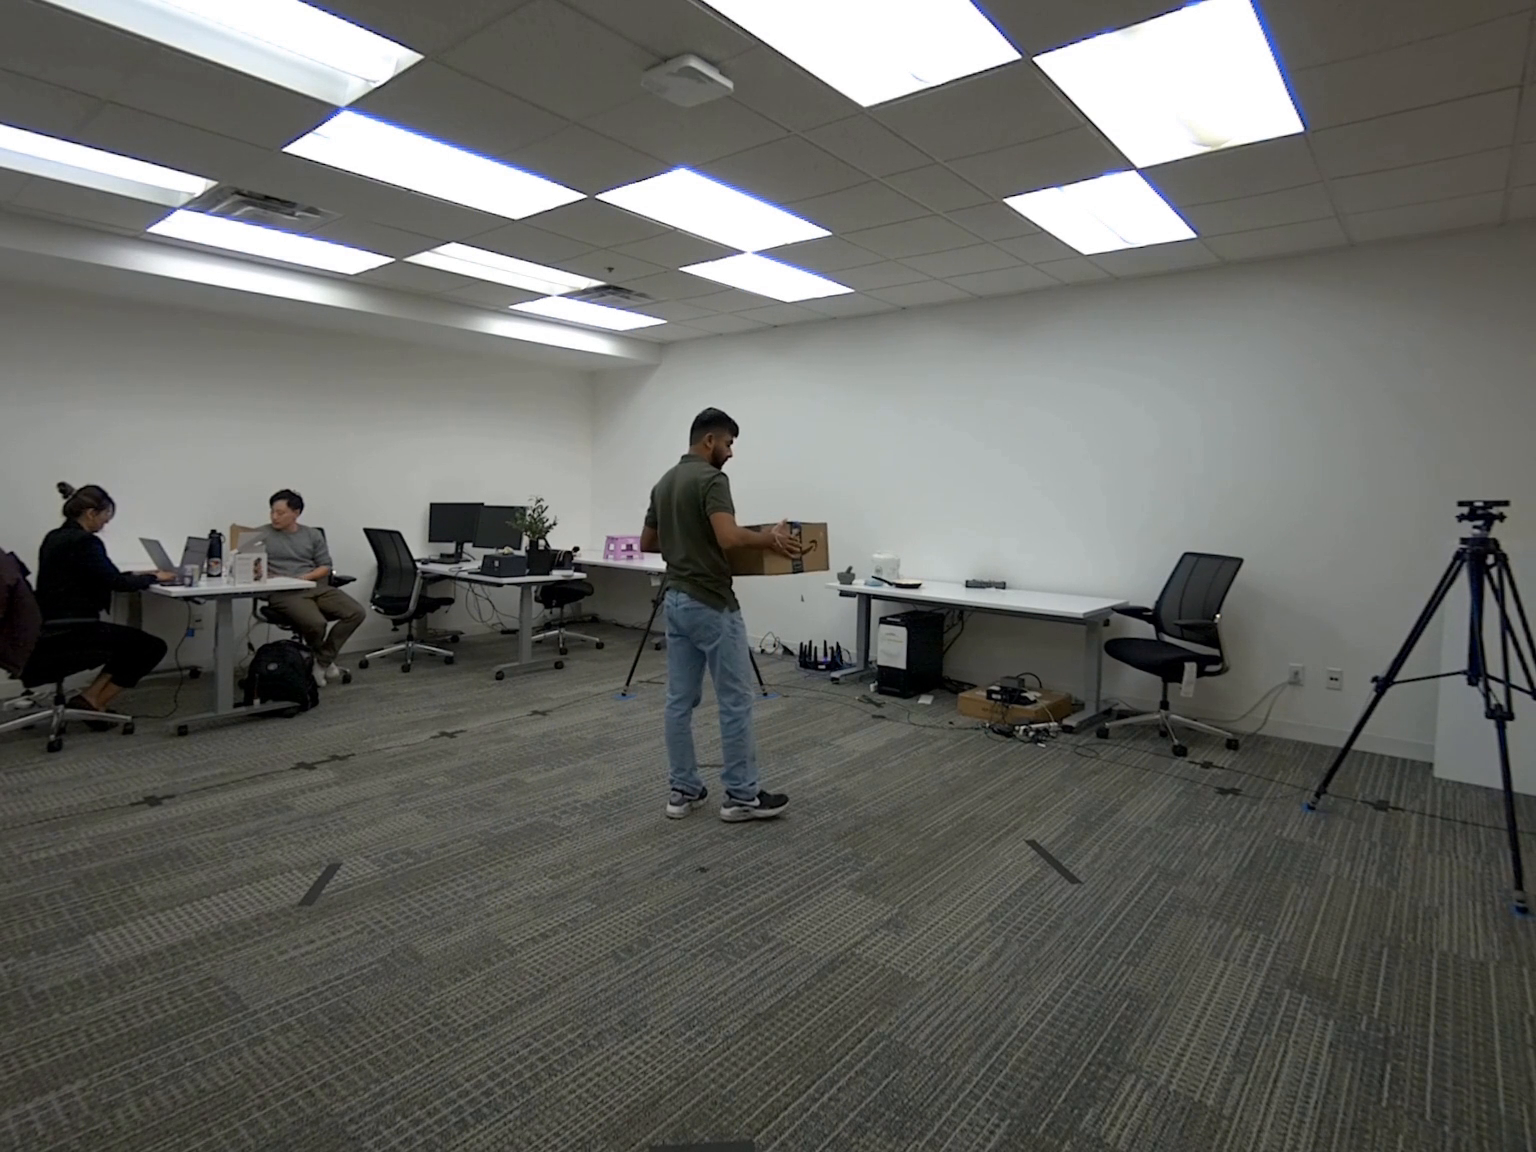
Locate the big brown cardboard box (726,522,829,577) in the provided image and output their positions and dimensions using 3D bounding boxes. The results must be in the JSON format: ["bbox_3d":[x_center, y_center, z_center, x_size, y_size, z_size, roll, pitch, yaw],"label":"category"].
[{"bbox_3d":[-0.082,-0.120,3.870,0.405,0.233,0.607,-5,2,-44],"label":"big brown cardboard box"}]
